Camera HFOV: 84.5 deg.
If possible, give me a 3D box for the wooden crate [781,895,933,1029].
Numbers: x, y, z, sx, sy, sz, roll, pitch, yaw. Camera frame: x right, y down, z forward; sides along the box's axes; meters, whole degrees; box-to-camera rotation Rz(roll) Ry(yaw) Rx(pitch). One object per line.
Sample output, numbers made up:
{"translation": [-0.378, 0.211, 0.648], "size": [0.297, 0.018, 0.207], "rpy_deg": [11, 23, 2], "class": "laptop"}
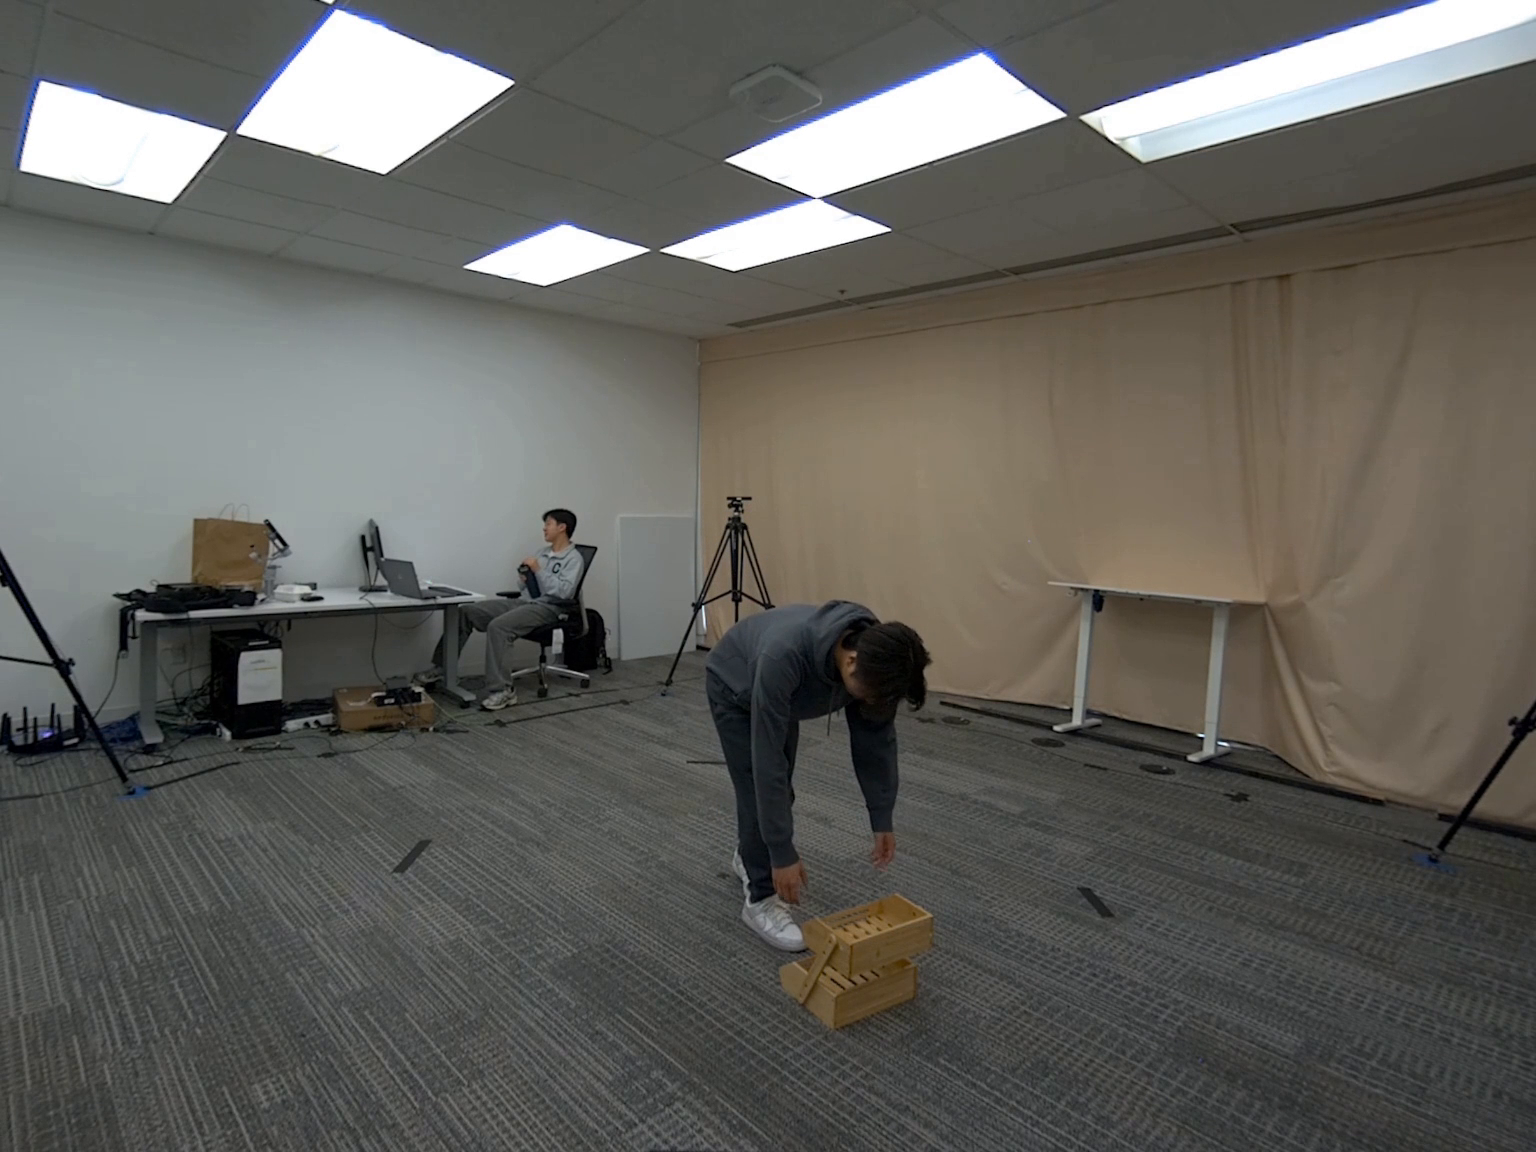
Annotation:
{"translation": [0.239, 1.049, 2.367], "size": [0.317, 0.272, 0.309], "rpy_deg": [-2, 6, -34], "class": "wooden crate"}
